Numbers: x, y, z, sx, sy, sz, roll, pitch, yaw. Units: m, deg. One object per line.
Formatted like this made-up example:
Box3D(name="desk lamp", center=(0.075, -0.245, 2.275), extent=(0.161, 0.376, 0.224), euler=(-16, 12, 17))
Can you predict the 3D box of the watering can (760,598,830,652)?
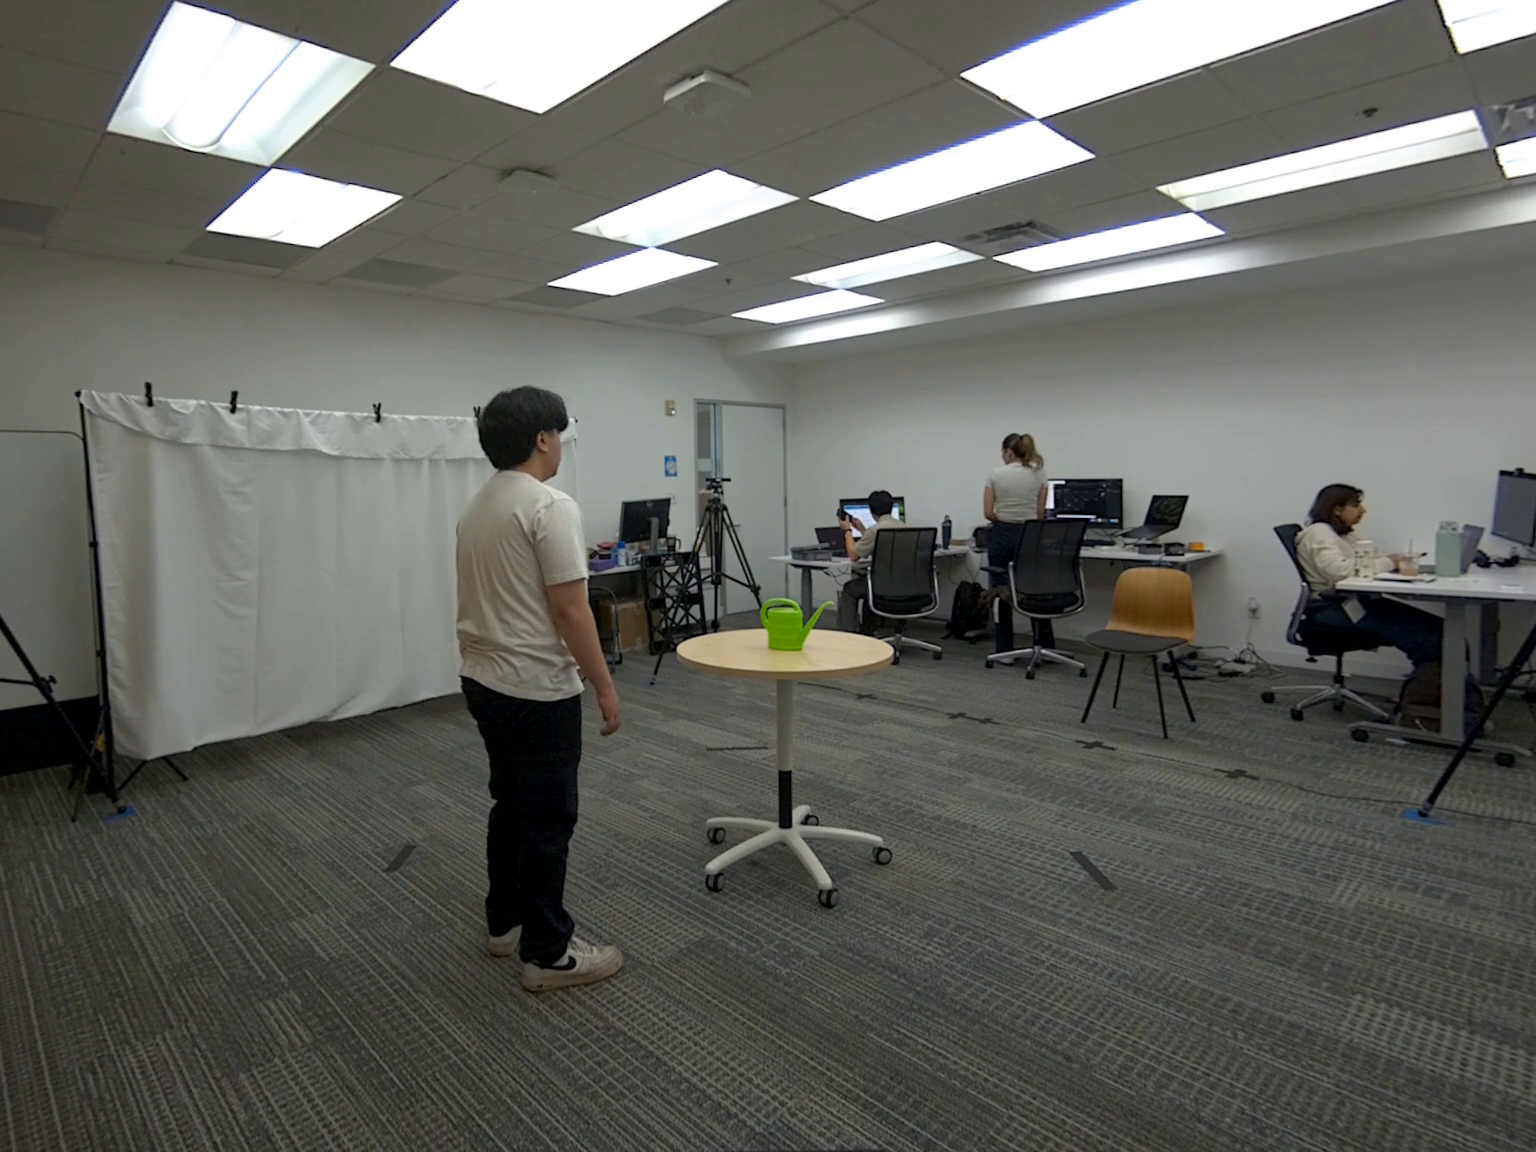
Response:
Box3D(name="watering can", center=(0.100, 0.171, 2.995), extent=(0.287, 0.176, 0.095), euler=(4, 6, 44))
